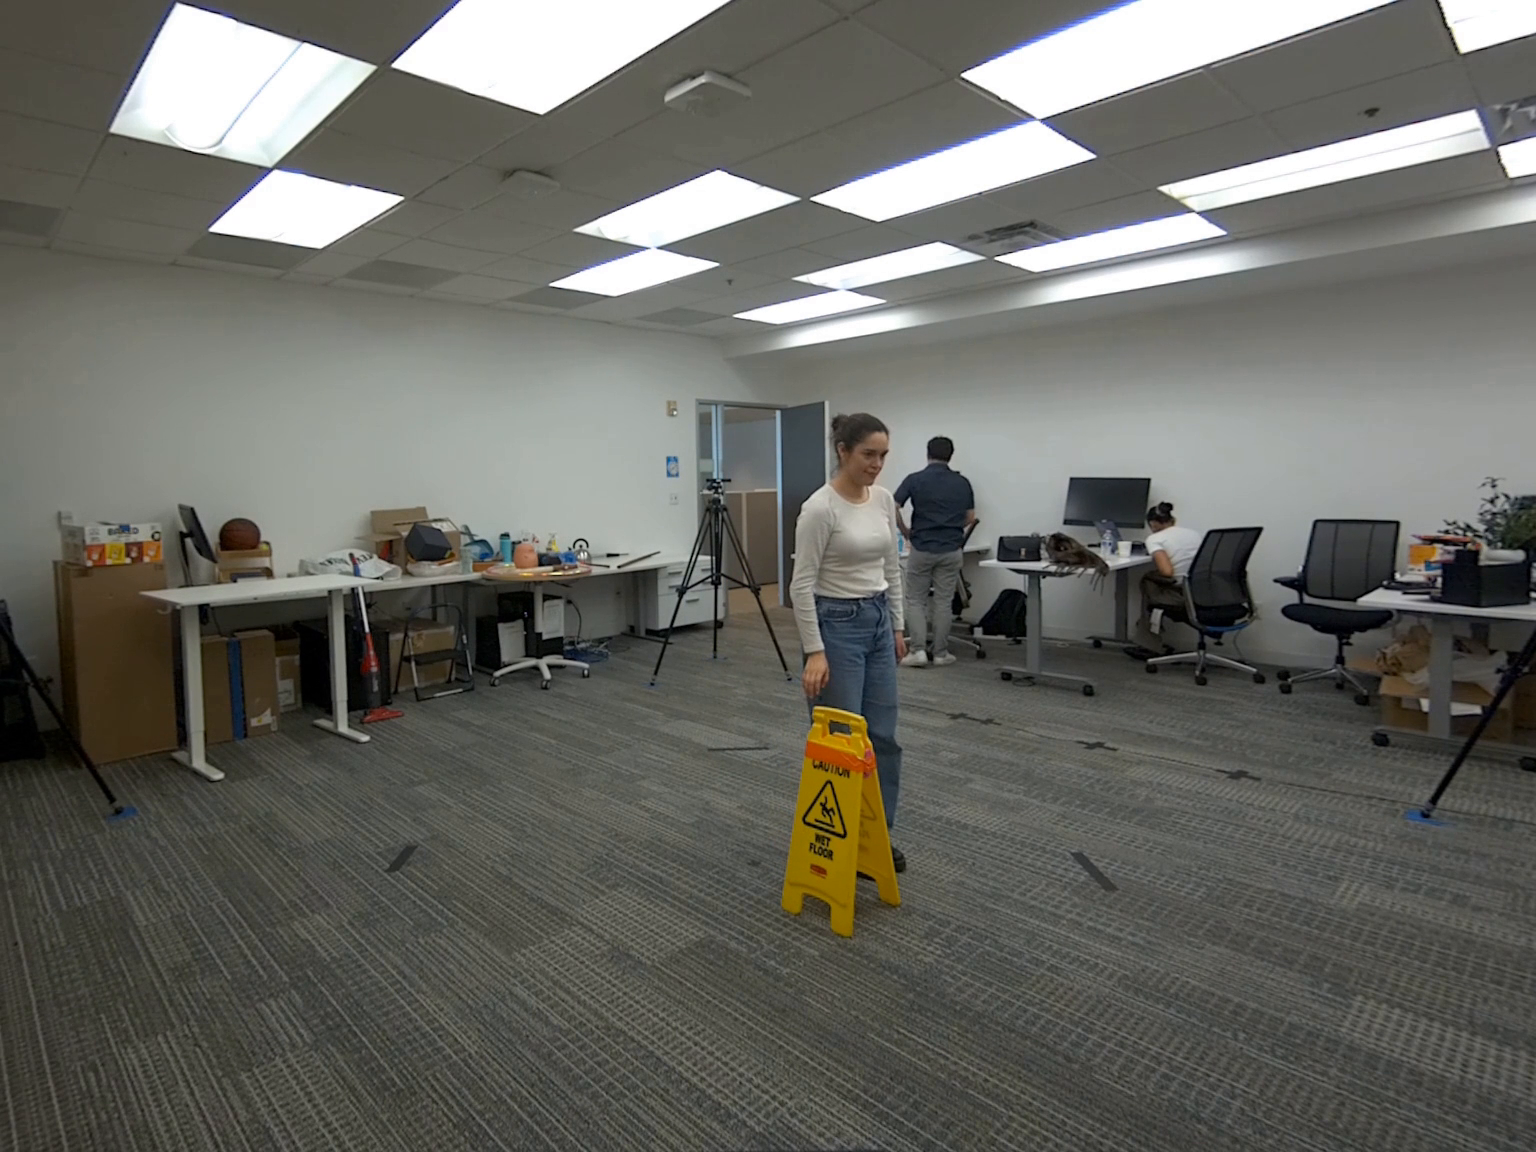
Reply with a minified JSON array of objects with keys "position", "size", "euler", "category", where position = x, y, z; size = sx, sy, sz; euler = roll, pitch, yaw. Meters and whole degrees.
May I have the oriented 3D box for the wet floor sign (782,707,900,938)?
[{"position":[0.233,0.758,2.758],"size":[0.291,0.644,0.282],"euler":[2,6,45],"category":"wet floor sign"}]
